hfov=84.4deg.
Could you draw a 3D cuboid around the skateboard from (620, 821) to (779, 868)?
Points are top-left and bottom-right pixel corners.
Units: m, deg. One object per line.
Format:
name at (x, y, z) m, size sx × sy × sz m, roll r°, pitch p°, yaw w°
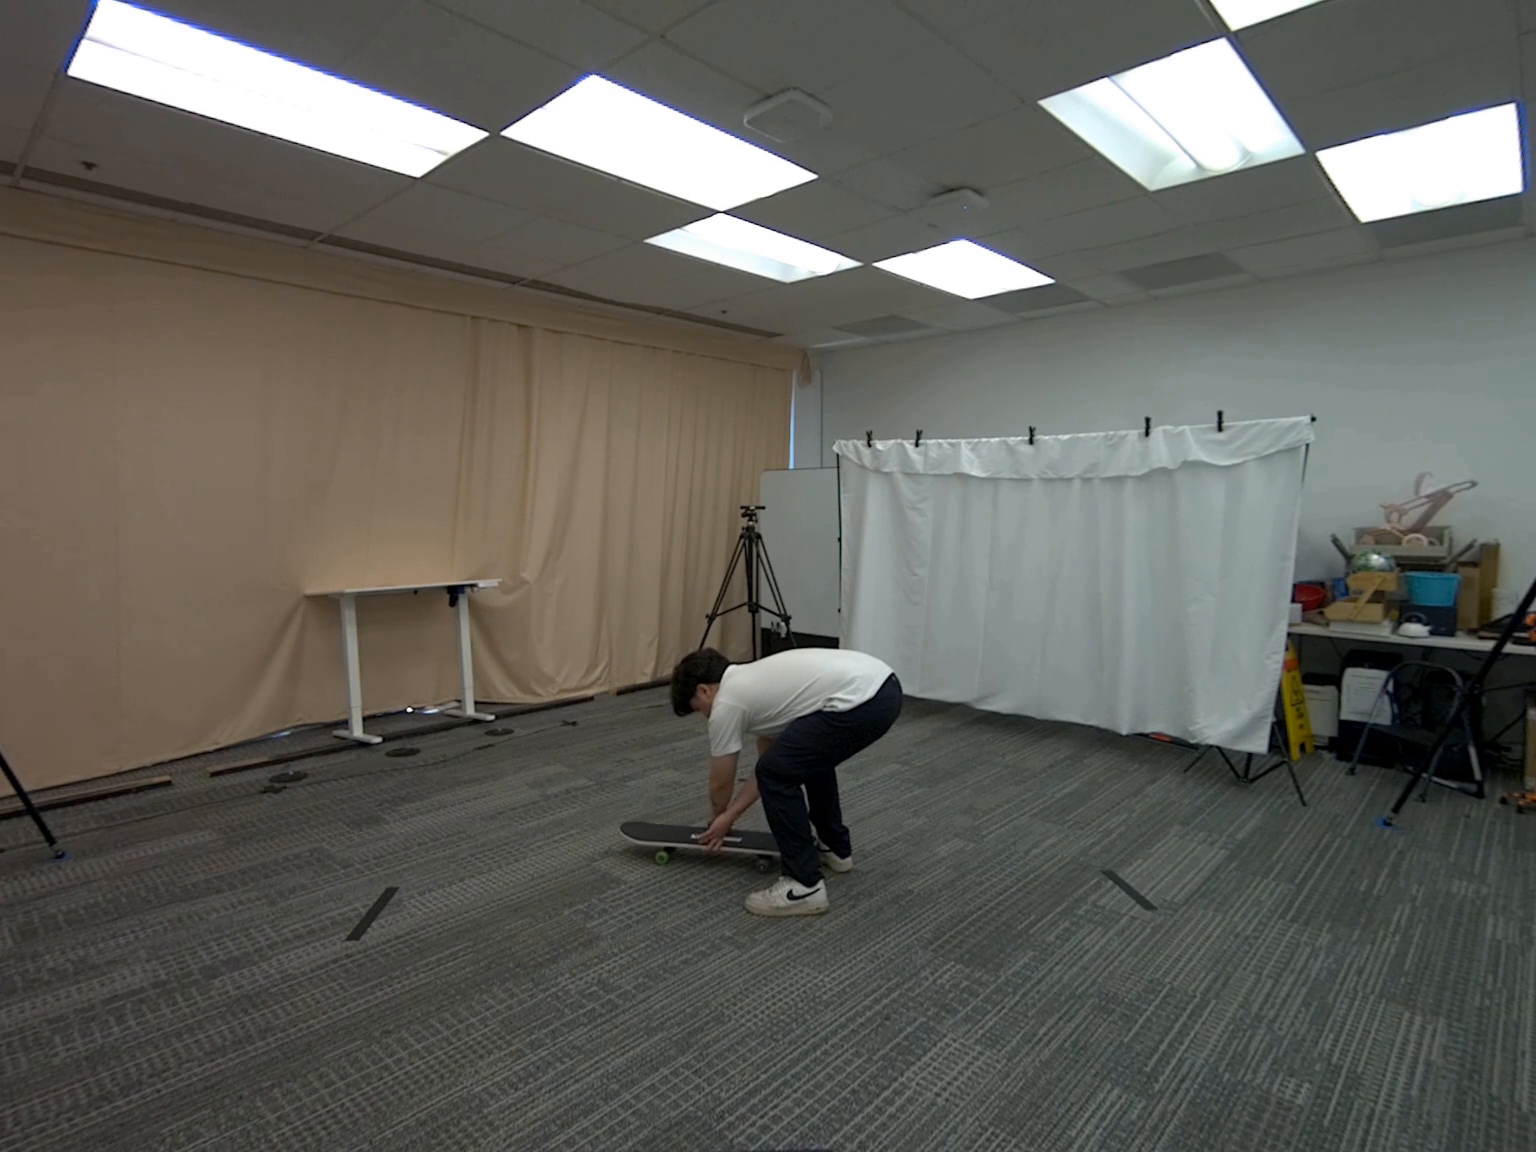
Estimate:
skateboard at (-0.202, 1.062, 3.312) m, size 0.795 × 0.110 × 0.191 m, roll 0°, pitch 4°, yaw 11°
